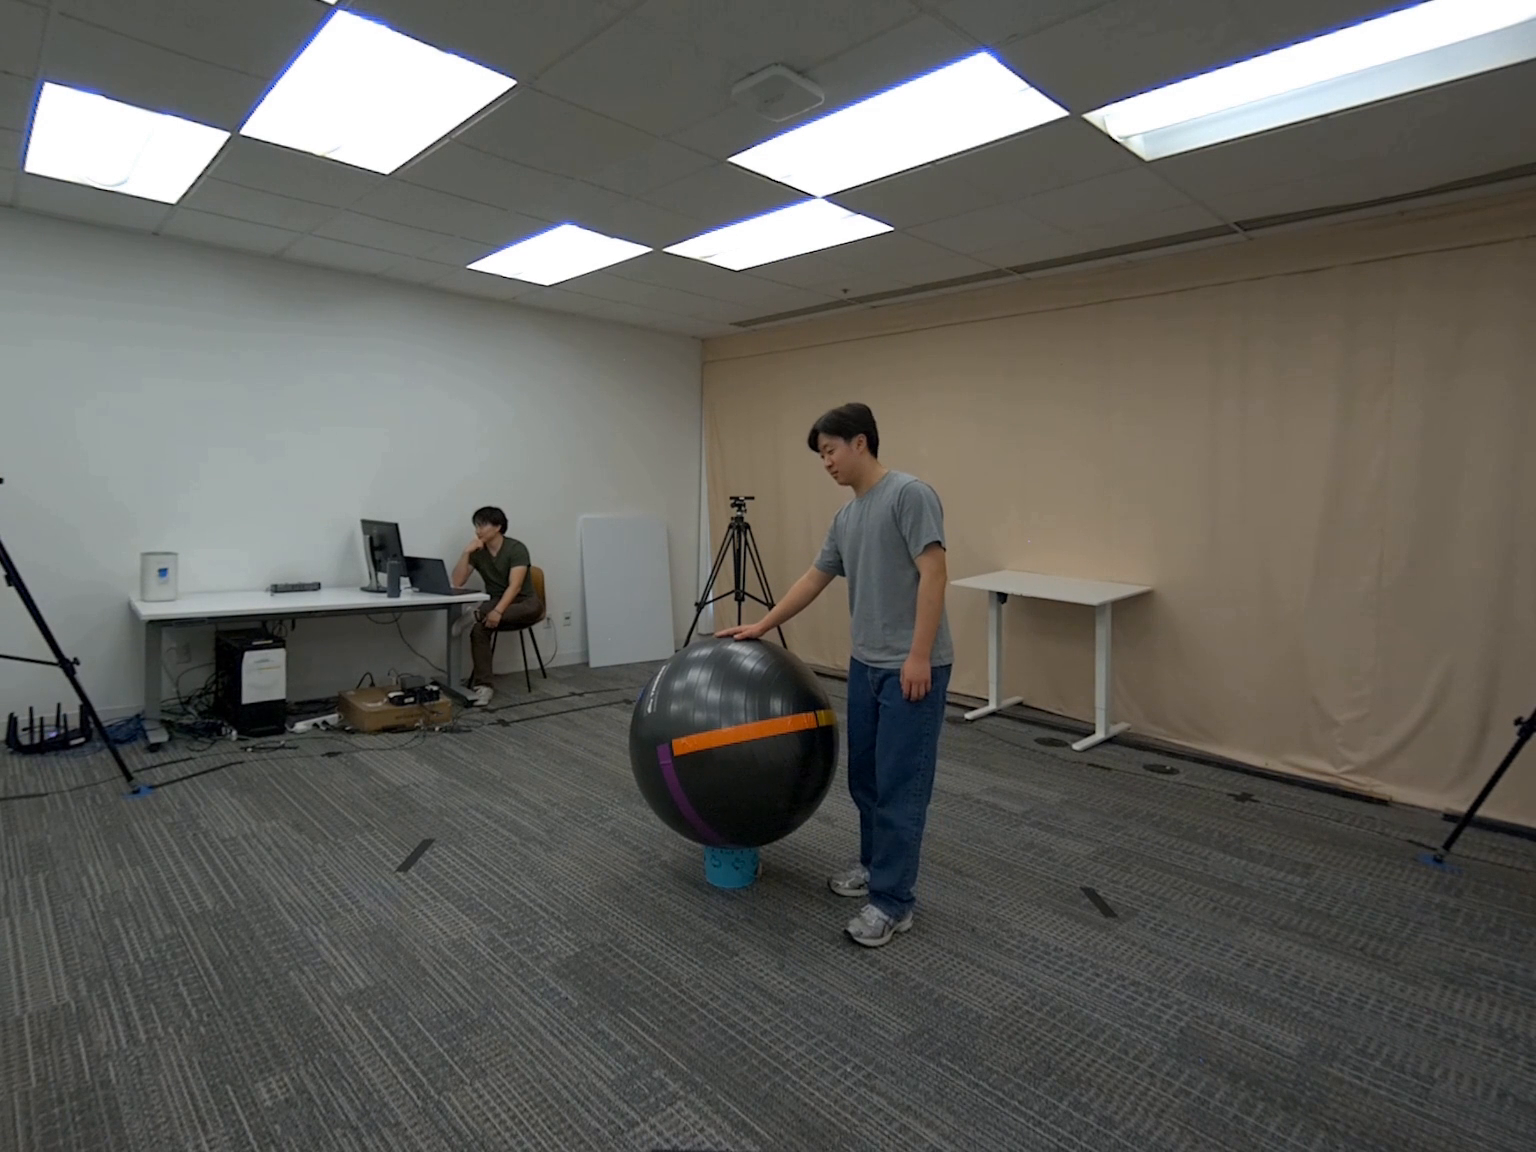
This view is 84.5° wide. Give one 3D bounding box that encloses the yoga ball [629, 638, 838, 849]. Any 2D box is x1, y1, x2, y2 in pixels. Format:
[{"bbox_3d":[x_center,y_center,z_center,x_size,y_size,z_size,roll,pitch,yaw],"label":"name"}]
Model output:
[{"bbox_3d":[-0.130,0.595,3.066,0.757,0.756,0.761,1,4,-1],"label":"yoga ball"}]
